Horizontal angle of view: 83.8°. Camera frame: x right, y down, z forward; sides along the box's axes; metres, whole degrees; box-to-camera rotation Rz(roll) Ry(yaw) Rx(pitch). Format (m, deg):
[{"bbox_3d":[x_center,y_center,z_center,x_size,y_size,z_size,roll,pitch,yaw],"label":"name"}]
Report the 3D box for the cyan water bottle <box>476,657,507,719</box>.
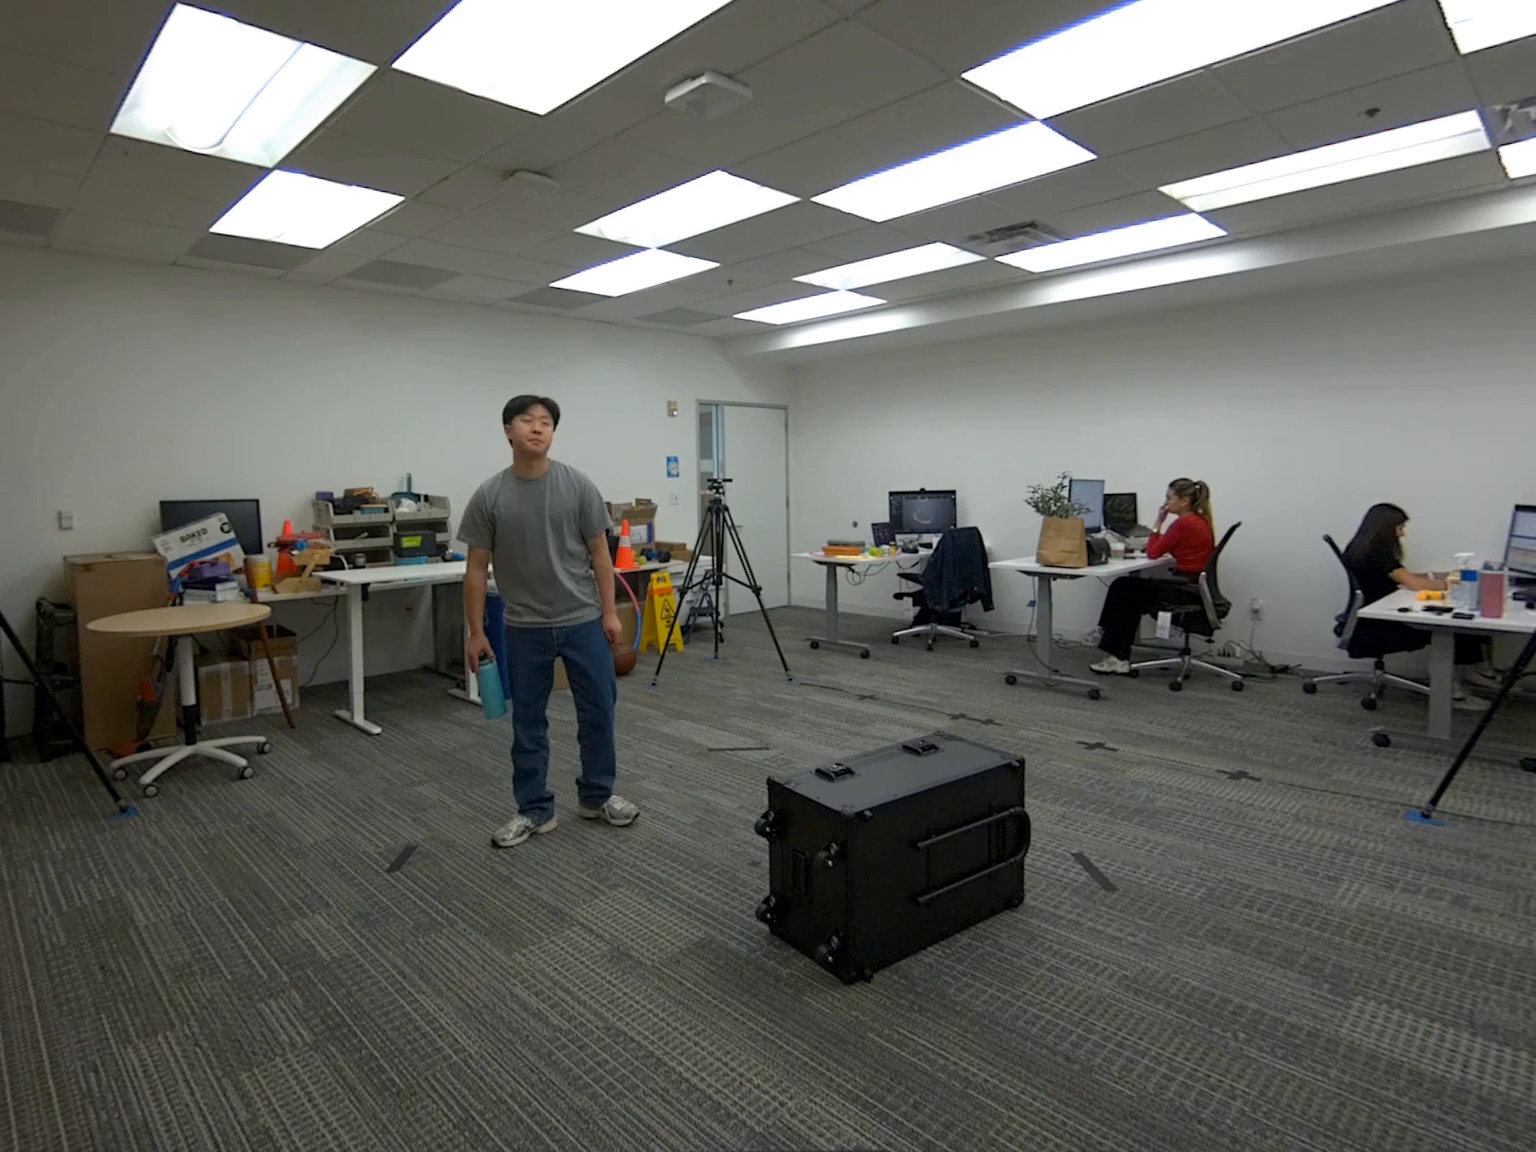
[{"bbox_3d":[-1.089,0.430,3.361,0.092,0.279,0.093,-6,13,0],"label":"cyan water bottle"}]
